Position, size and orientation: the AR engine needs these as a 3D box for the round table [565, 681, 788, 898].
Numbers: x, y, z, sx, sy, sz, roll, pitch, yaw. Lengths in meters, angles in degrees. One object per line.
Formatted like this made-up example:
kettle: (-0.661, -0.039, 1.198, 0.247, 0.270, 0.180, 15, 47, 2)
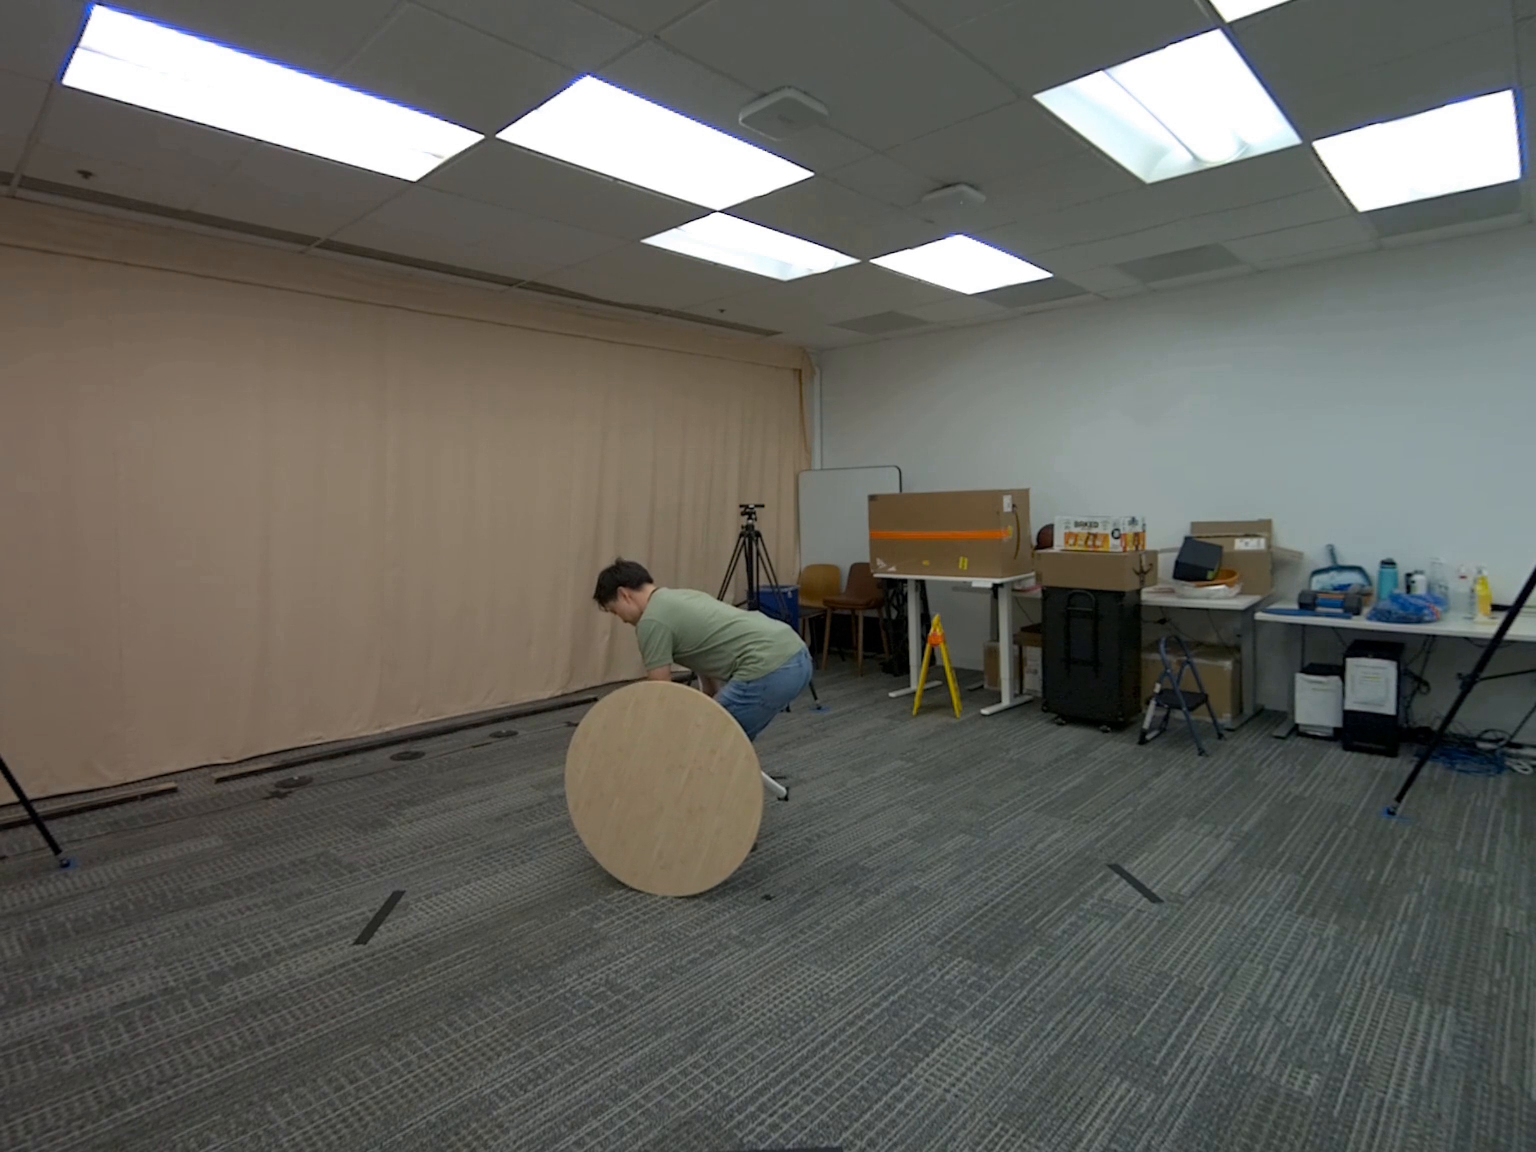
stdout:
round table: (-0.285, 0.741, 3.388, 0.779, 0.763, 0.780, 0, 2, 17)
